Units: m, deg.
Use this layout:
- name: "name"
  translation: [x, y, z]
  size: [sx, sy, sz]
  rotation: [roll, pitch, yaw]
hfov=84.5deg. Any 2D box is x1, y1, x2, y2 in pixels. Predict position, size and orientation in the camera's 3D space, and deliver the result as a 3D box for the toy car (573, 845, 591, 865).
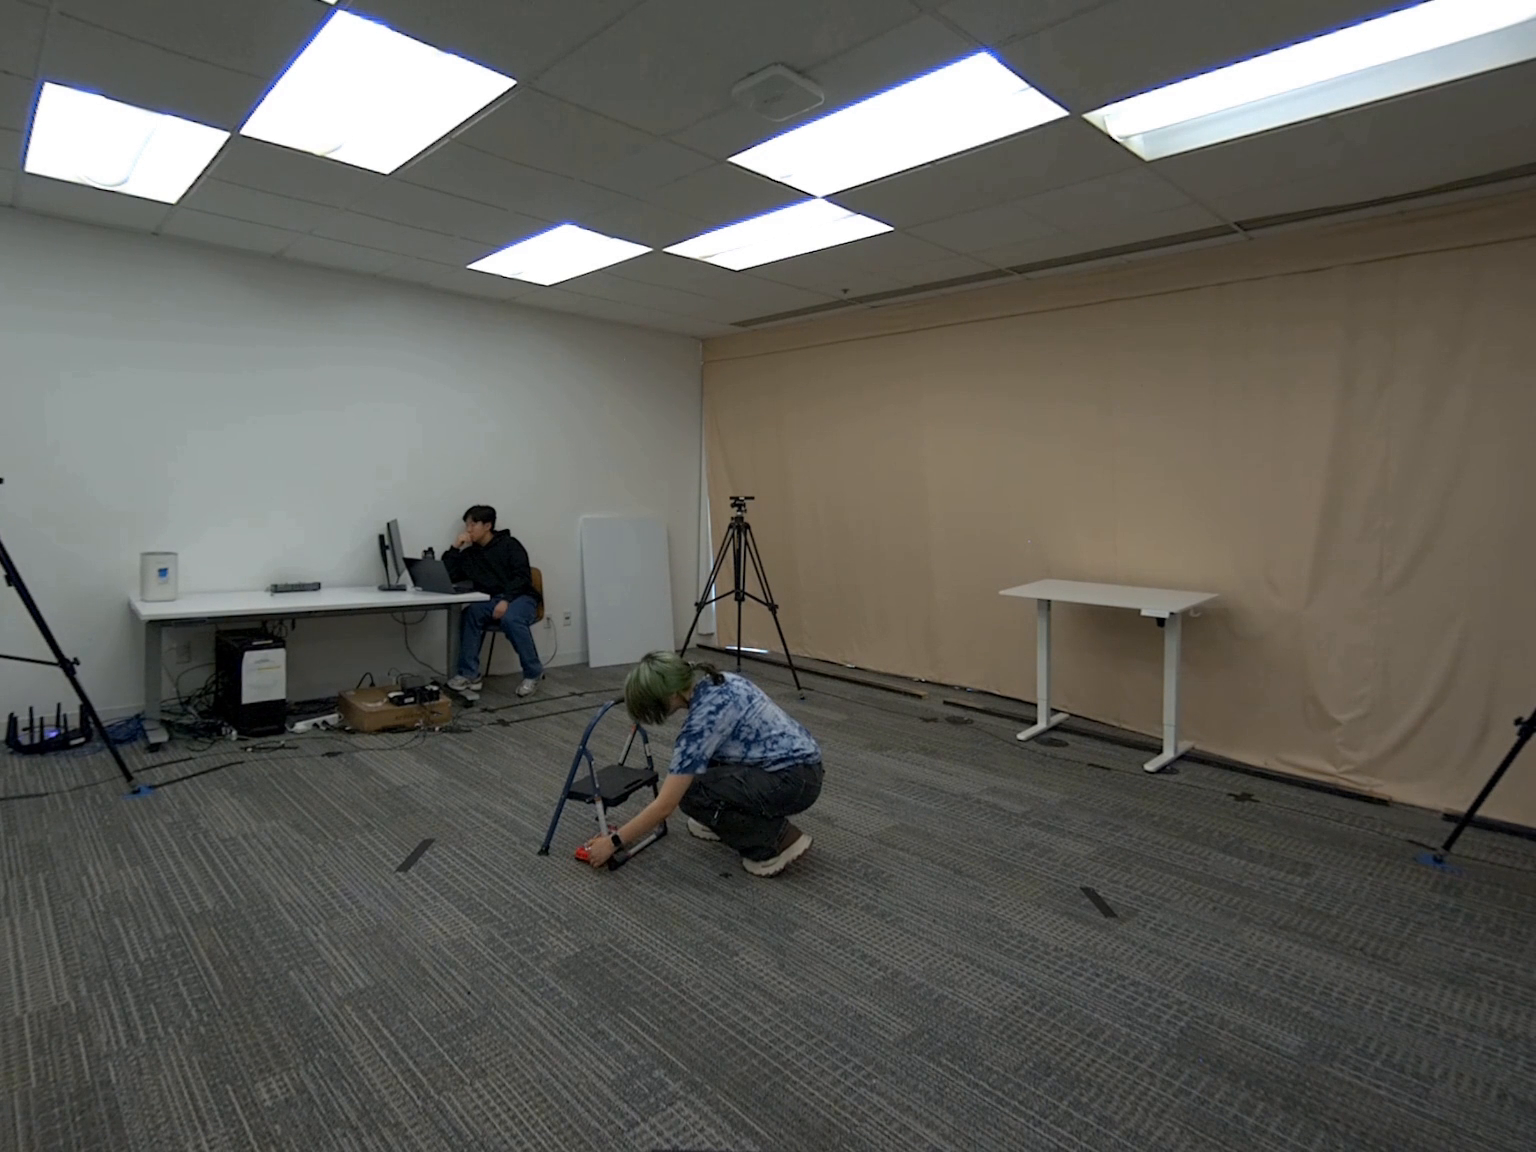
- name: "toy car"
  translation: [-0.633, 1.045, 3.266]
  size: [0.132, 0.082, 0.253]
  rotation: [0, 17, 19]
